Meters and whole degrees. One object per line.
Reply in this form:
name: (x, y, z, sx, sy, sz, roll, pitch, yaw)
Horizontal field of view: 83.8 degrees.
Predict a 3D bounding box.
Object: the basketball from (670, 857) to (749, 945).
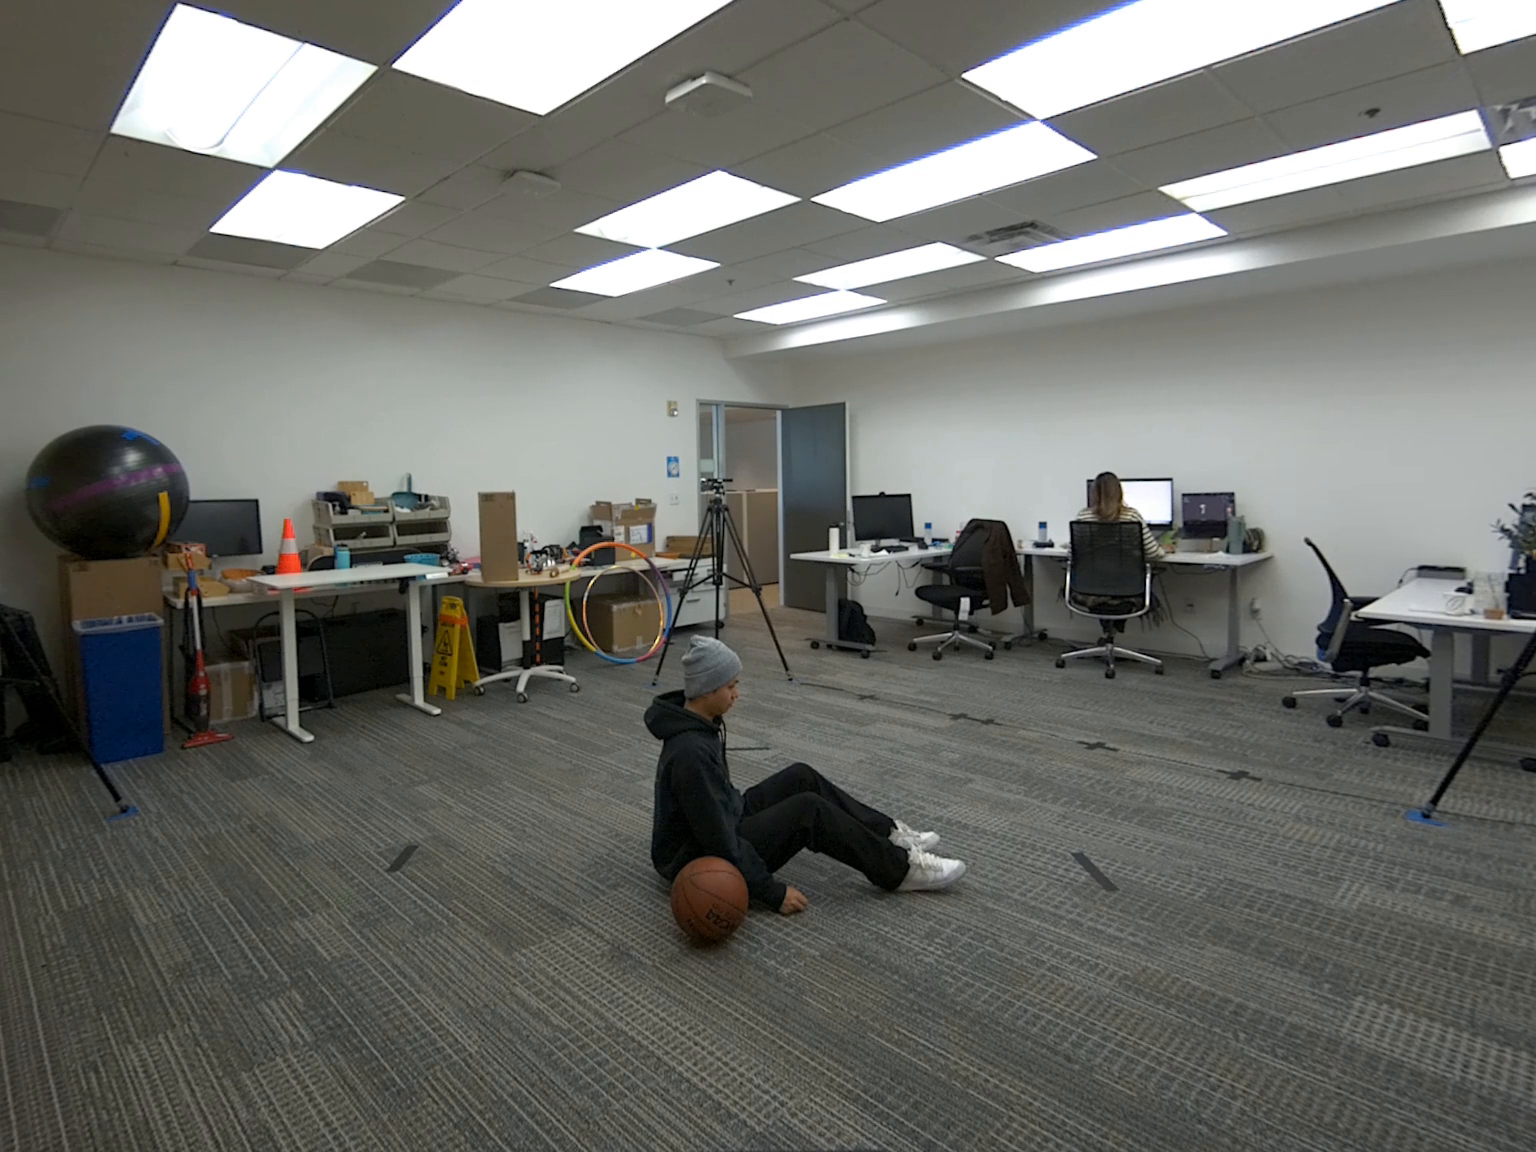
basketball: (-0.185, 0.983, 2.615, 0.236, 0.235, 0.237, -1, 5, -2)
